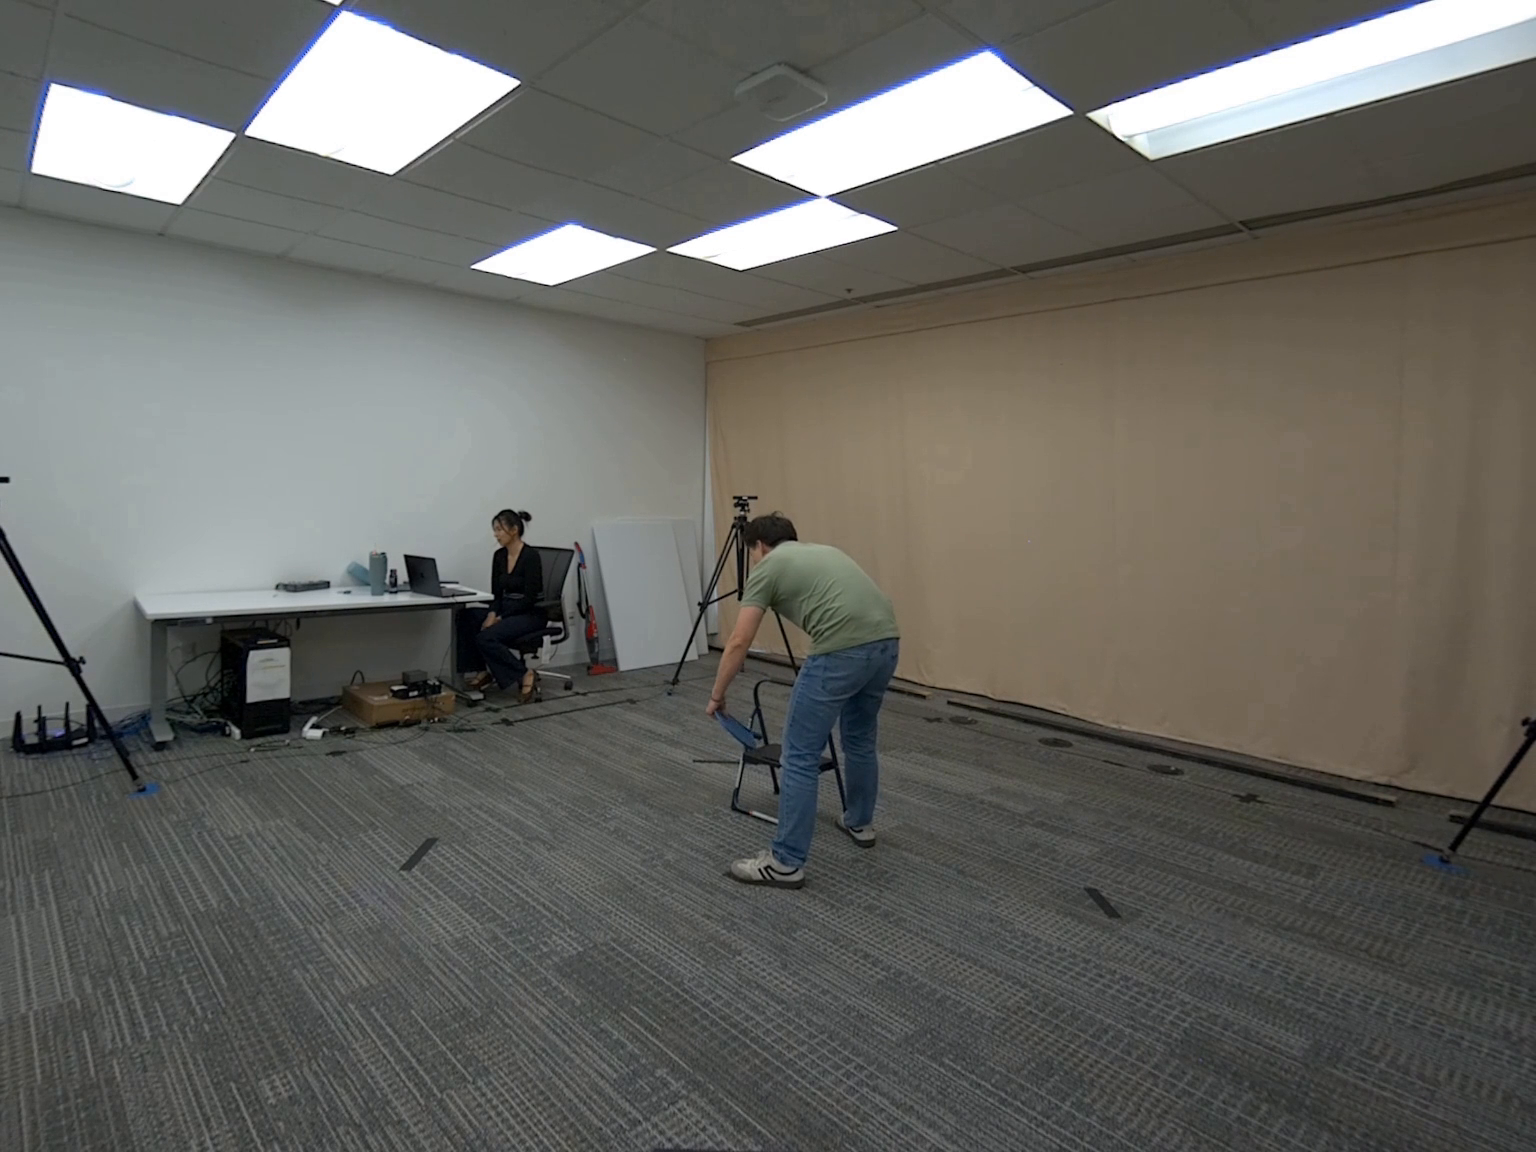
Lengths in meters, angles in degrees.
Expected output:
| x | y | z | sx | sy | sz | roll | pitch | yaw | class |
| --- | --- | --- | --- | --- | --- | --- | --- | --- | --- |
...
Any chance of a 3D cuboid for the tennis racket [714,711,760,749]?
| x | y | z | sx | sy | sz | roll | pitch | yaw | class |
| --- | --- | --- | --- | --- | --- | --- | --- | --- | --- |
| -0.087 | 0.624 | 3.378 | 0.220 | 0.032 | 0.421 | 44 | 2 | 28 | tennis racket |
